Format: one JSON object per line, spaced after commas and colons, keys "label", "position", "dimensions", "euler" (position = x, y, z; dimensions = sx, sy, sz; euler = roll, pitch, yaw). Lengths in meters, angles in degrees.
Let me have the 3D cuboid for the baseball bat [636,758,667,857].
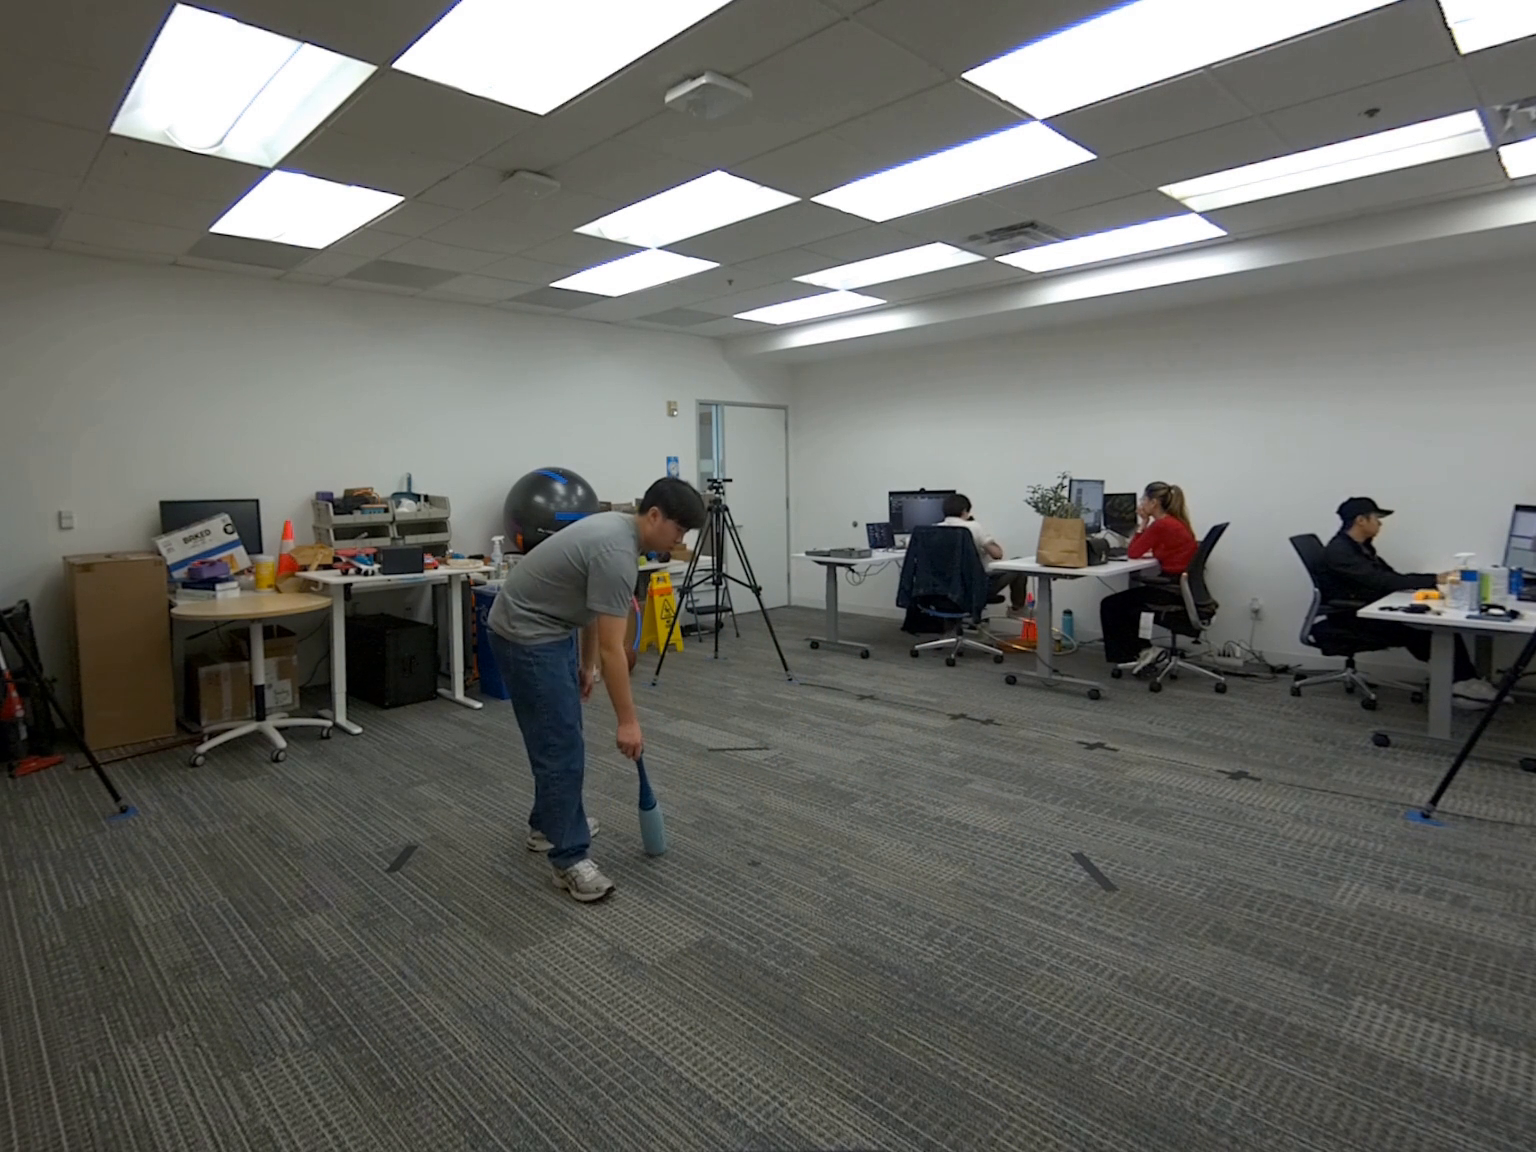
{"label": "baseball bat", "position": [-0.432, 0.806, 3.074], "dimensions": [0.089, 0.529, 0.091], "euler": [-3, 33, 0]}
